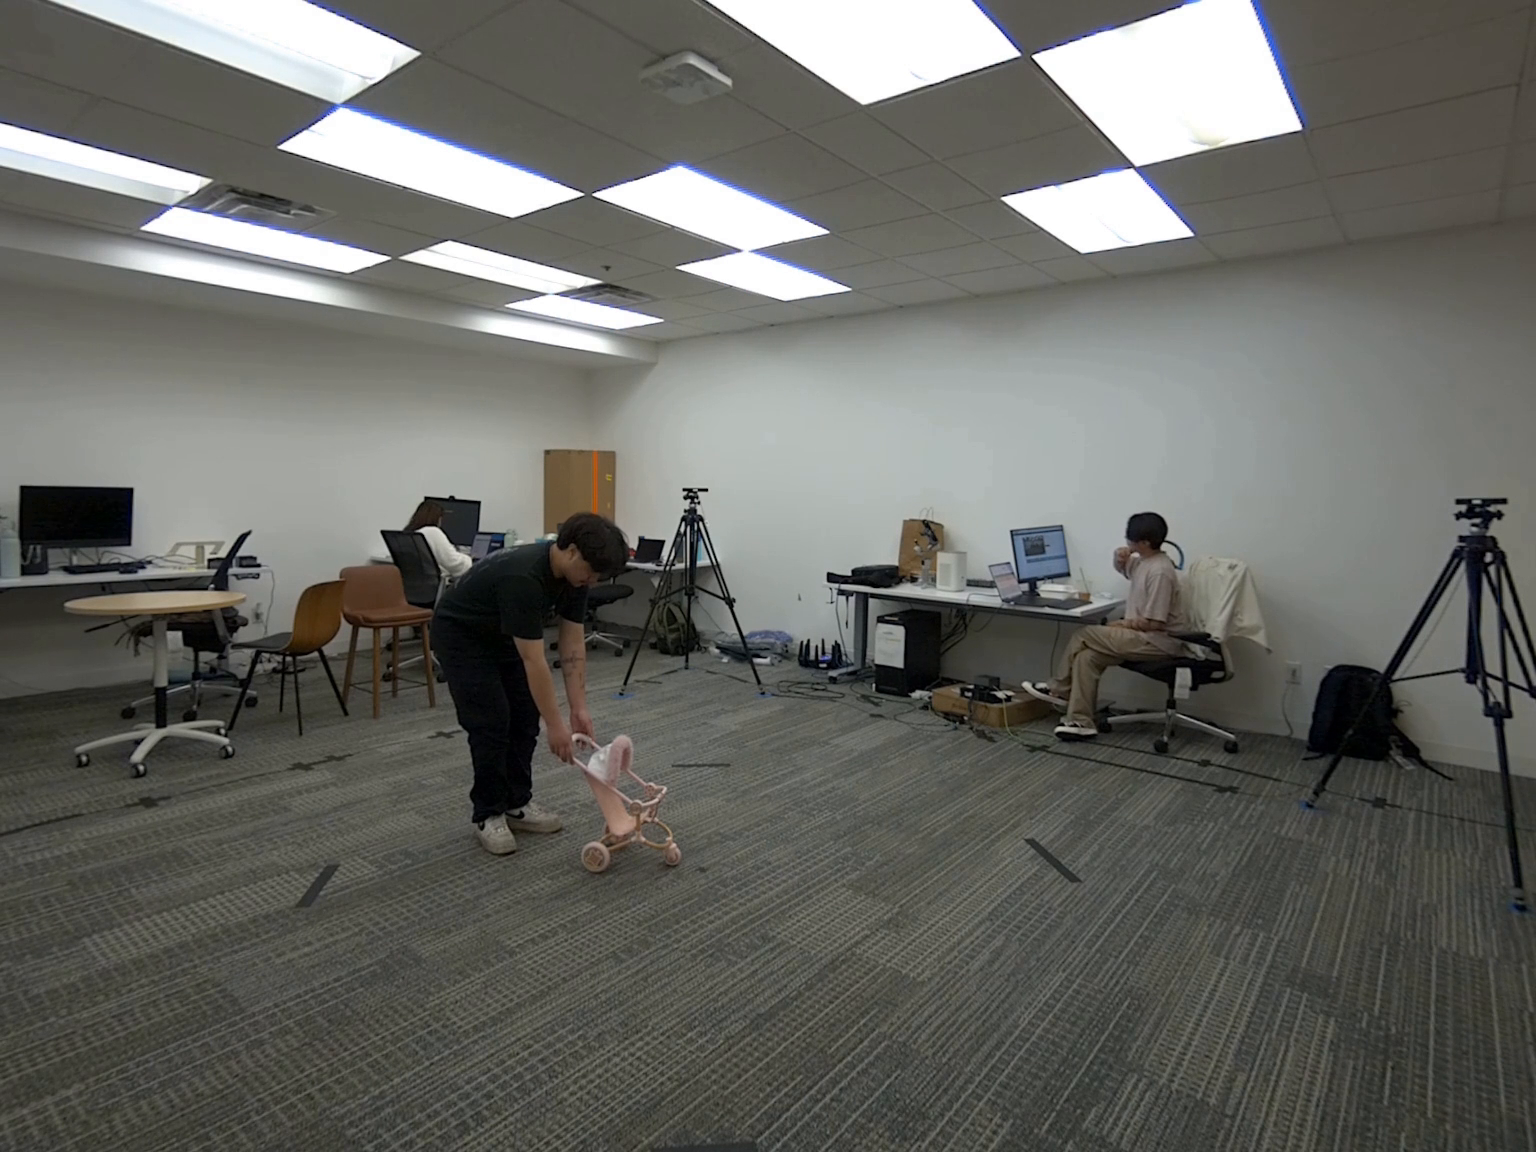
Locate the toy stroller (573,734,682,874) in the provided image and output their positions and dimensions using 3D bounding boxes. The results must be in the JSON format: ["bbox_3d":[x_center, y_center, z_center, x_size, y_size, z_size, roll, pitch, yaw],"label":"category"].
[{"bbox_3d":[-0.549,0.834,3.163,0.346,0.536,0.278,-14,0,15],"label":"toy stroller"}]
